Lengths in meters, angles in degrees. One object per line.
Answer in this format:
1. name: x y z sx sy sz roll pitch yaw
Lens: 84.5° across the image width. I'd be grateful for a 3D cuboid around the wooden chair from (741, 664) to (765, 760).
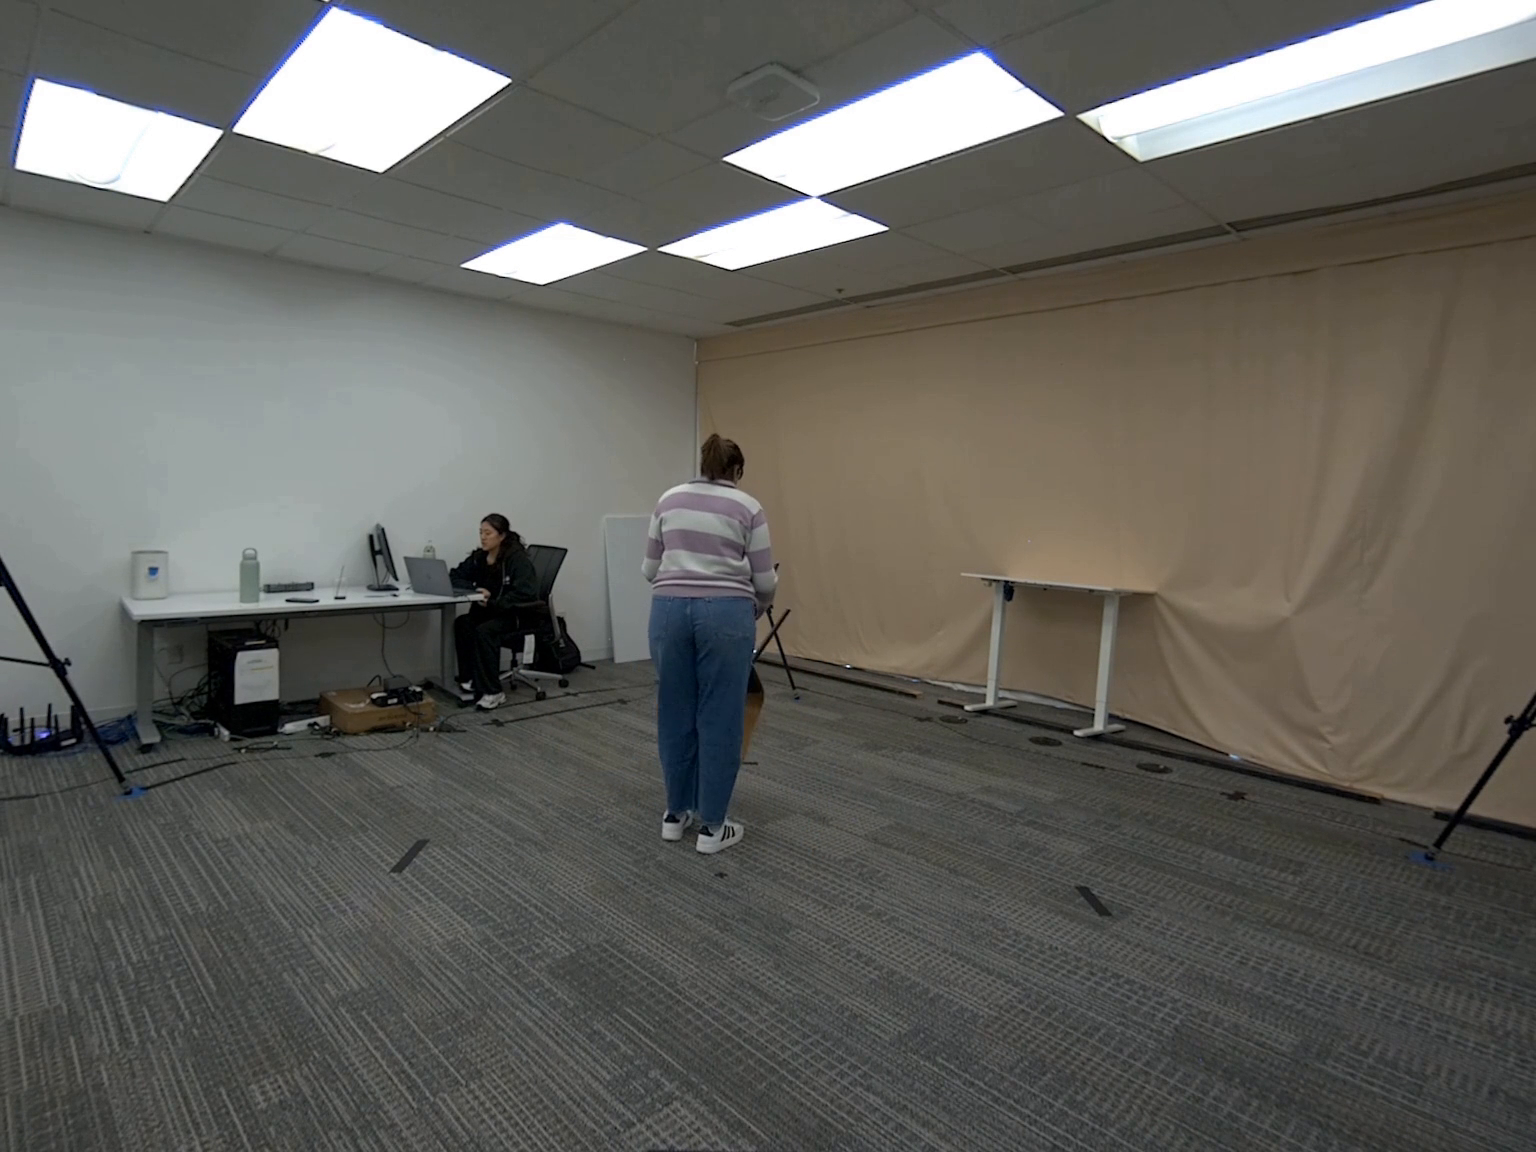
1. wooden chair: -0.258 0.387 3.709 0.484 0.887 0.510 9 -24 14
